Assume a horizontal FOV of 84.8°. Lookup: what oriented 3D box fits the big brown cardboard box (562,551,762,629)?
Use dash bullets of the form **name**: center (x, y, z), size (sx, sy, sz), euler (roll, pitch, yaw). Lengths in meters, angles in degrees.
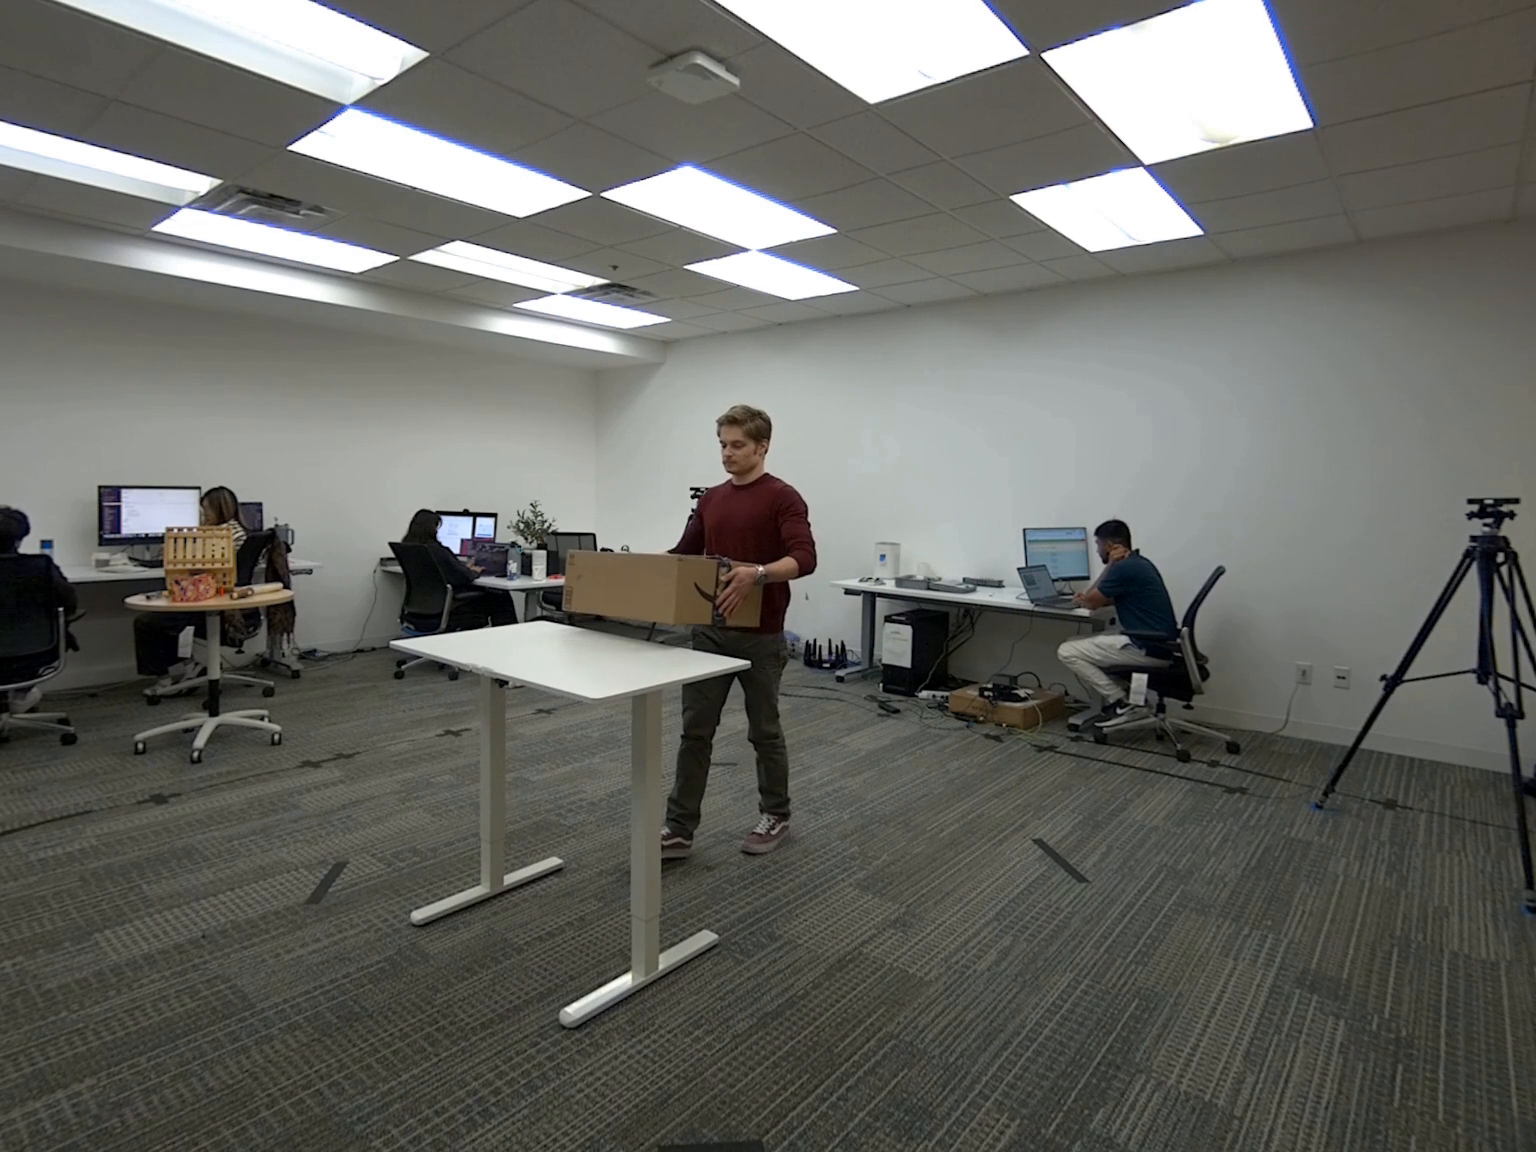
- **big brown cardboard box**: center (-0.372, 0.035, 2.966), size (0.608, 0.234, 0.403), euler (3, -2, 41)
